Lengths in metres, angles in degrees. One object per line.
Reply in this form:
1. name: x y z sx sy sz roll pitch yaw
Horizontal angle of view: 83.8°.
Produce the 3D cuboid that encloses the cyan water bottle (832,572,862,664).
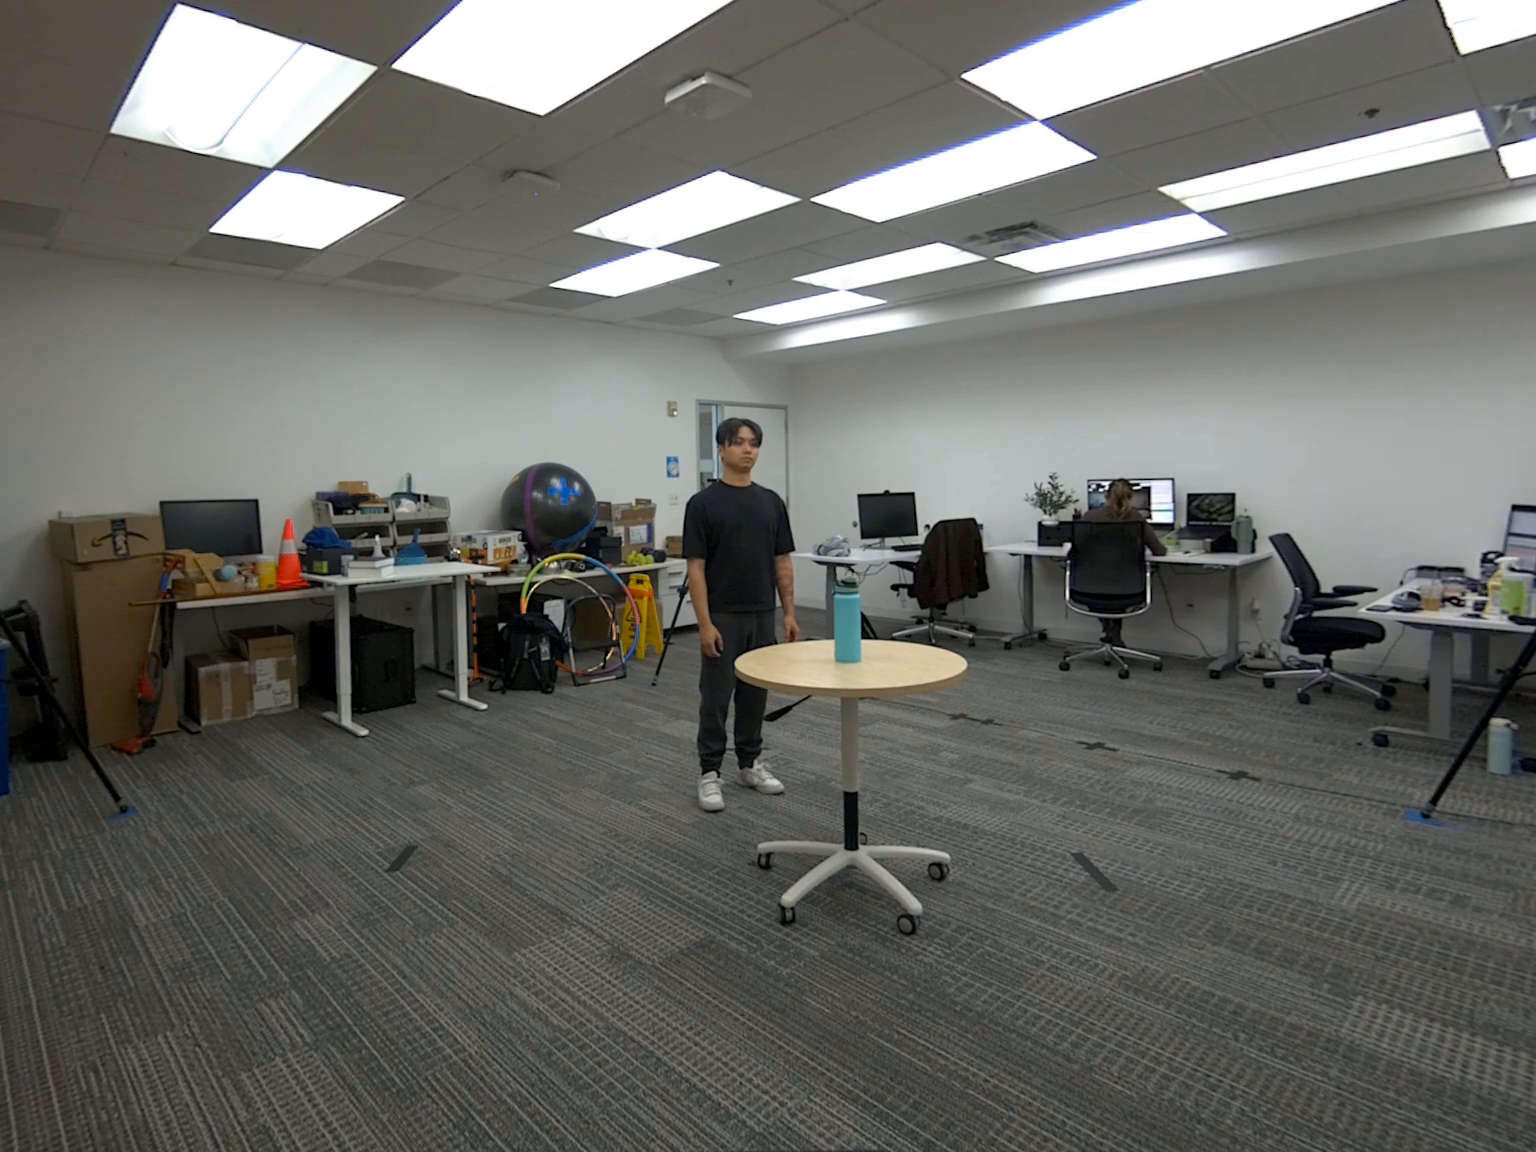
1. cyan water bottle: 0.273 0.148 2.863 0.092 0.283 0.092 -3 2 -2
